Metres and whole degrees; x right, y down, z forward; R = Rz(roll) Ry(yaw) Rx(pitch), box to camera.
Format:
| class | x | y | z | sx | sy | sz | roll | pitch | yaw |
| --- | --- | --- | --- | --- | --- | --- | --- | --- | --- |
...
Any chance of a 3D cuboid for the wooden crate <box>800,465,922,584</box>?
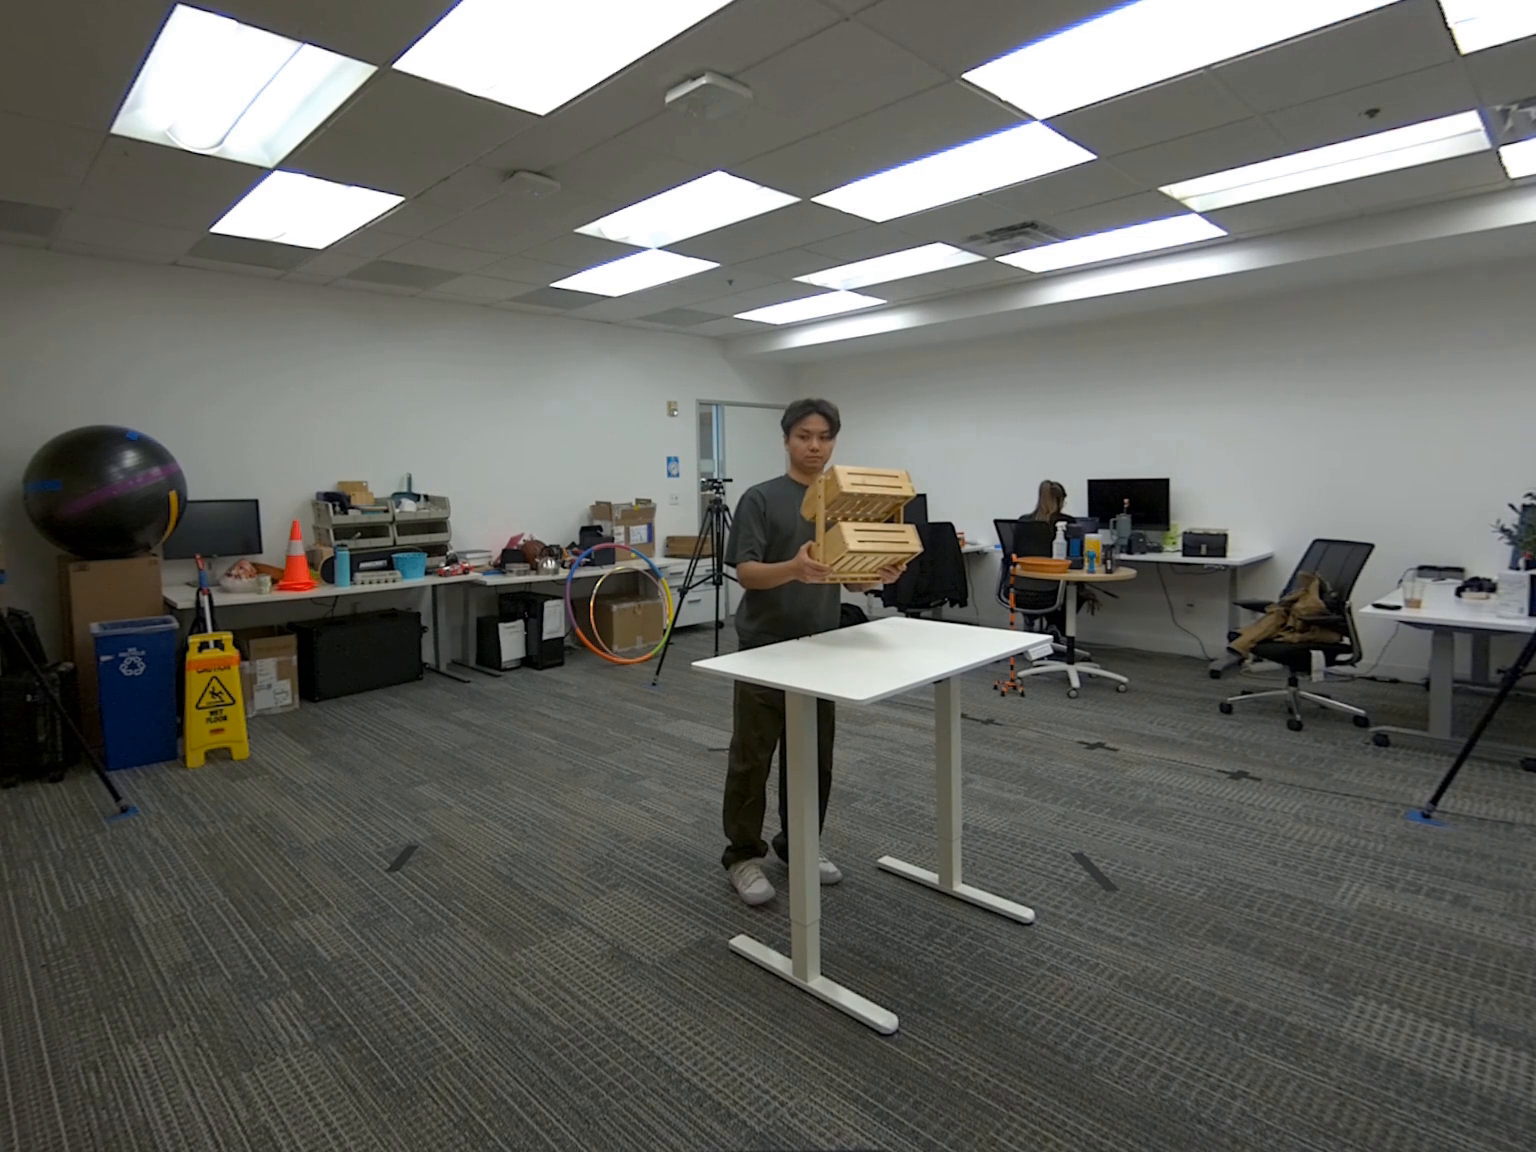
| class | x | y | z | sx | sy | sz | roll | pitch | yaw |
| --- | --- | --- | --- | --- | --- | --- | --- | --- | --- |
| wooden crate | 0.272 | -0.156 | 2.699 | 0.316 | 0.280 | 0.302 | 0 | -27 | -32 |
